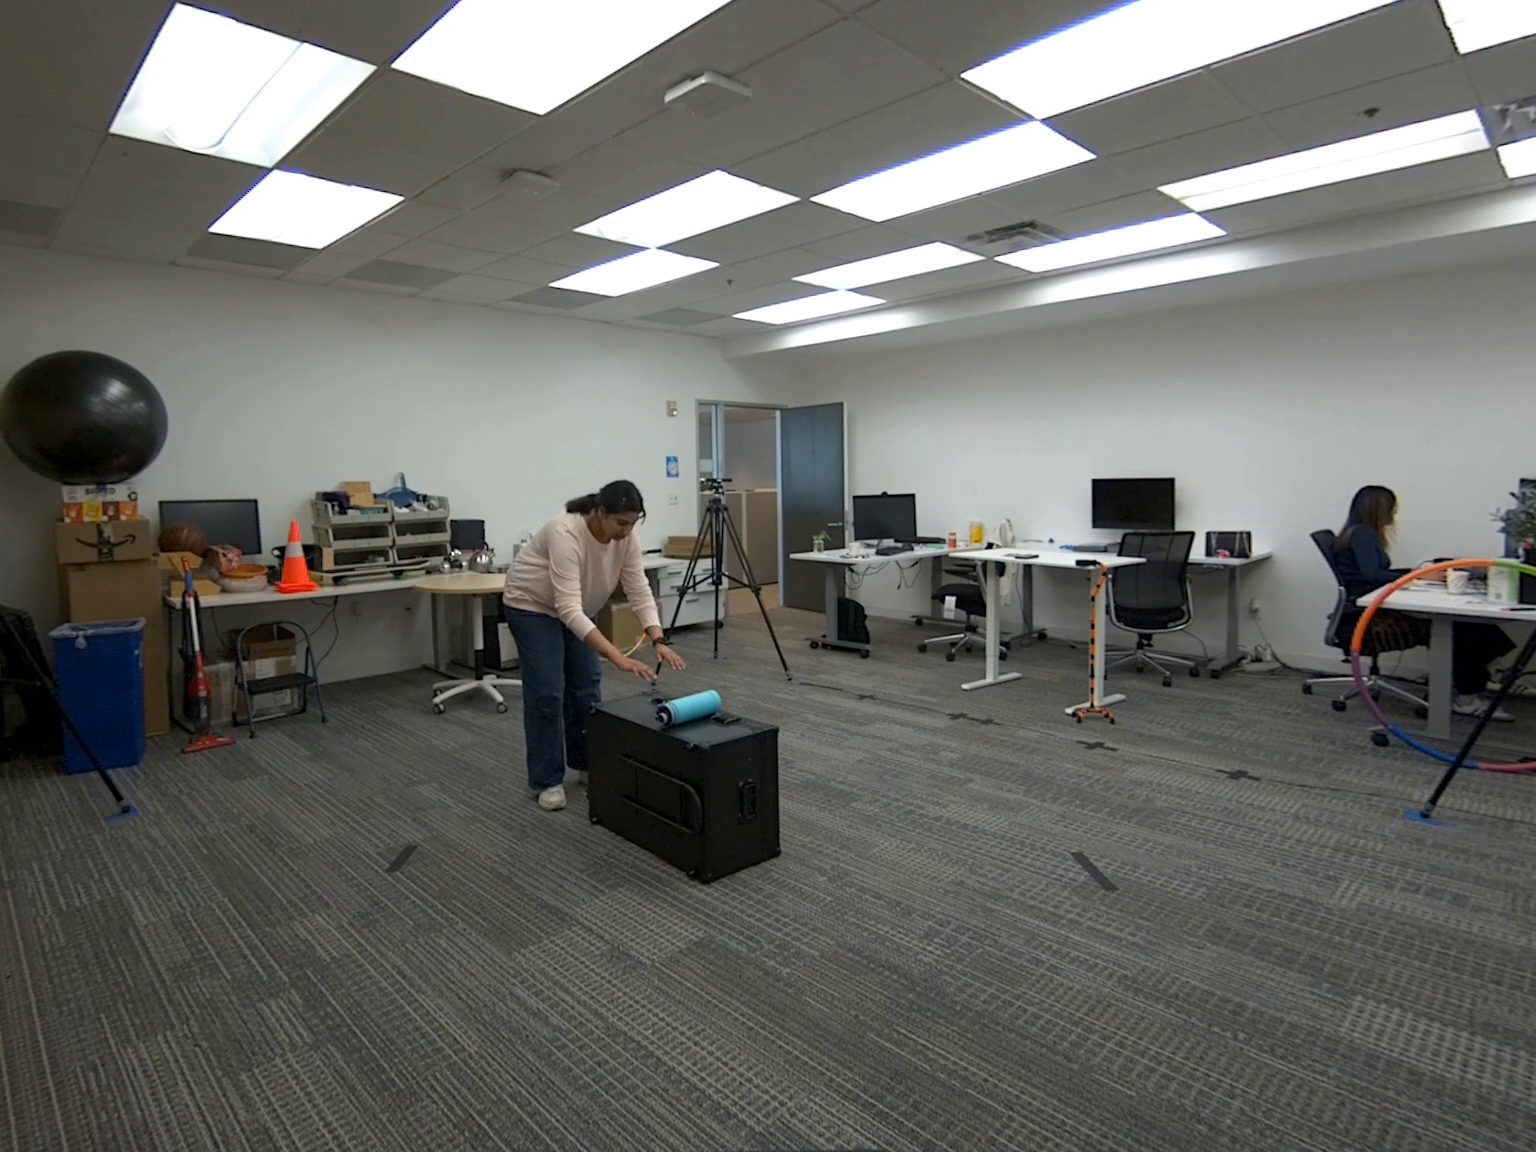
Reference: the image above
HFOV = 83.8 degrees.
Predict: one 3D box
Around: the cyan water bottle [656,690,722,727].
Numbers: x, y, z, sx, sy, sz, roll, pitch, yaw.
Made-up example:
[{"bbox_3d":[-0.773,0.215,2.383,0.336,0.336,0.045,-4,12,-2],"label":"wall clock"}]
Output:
[{"bbox_3d":[-0.306,0.502,3.250,0.095,0.092,0.276,4,9,44],"label":"cyan water bottle"}]
